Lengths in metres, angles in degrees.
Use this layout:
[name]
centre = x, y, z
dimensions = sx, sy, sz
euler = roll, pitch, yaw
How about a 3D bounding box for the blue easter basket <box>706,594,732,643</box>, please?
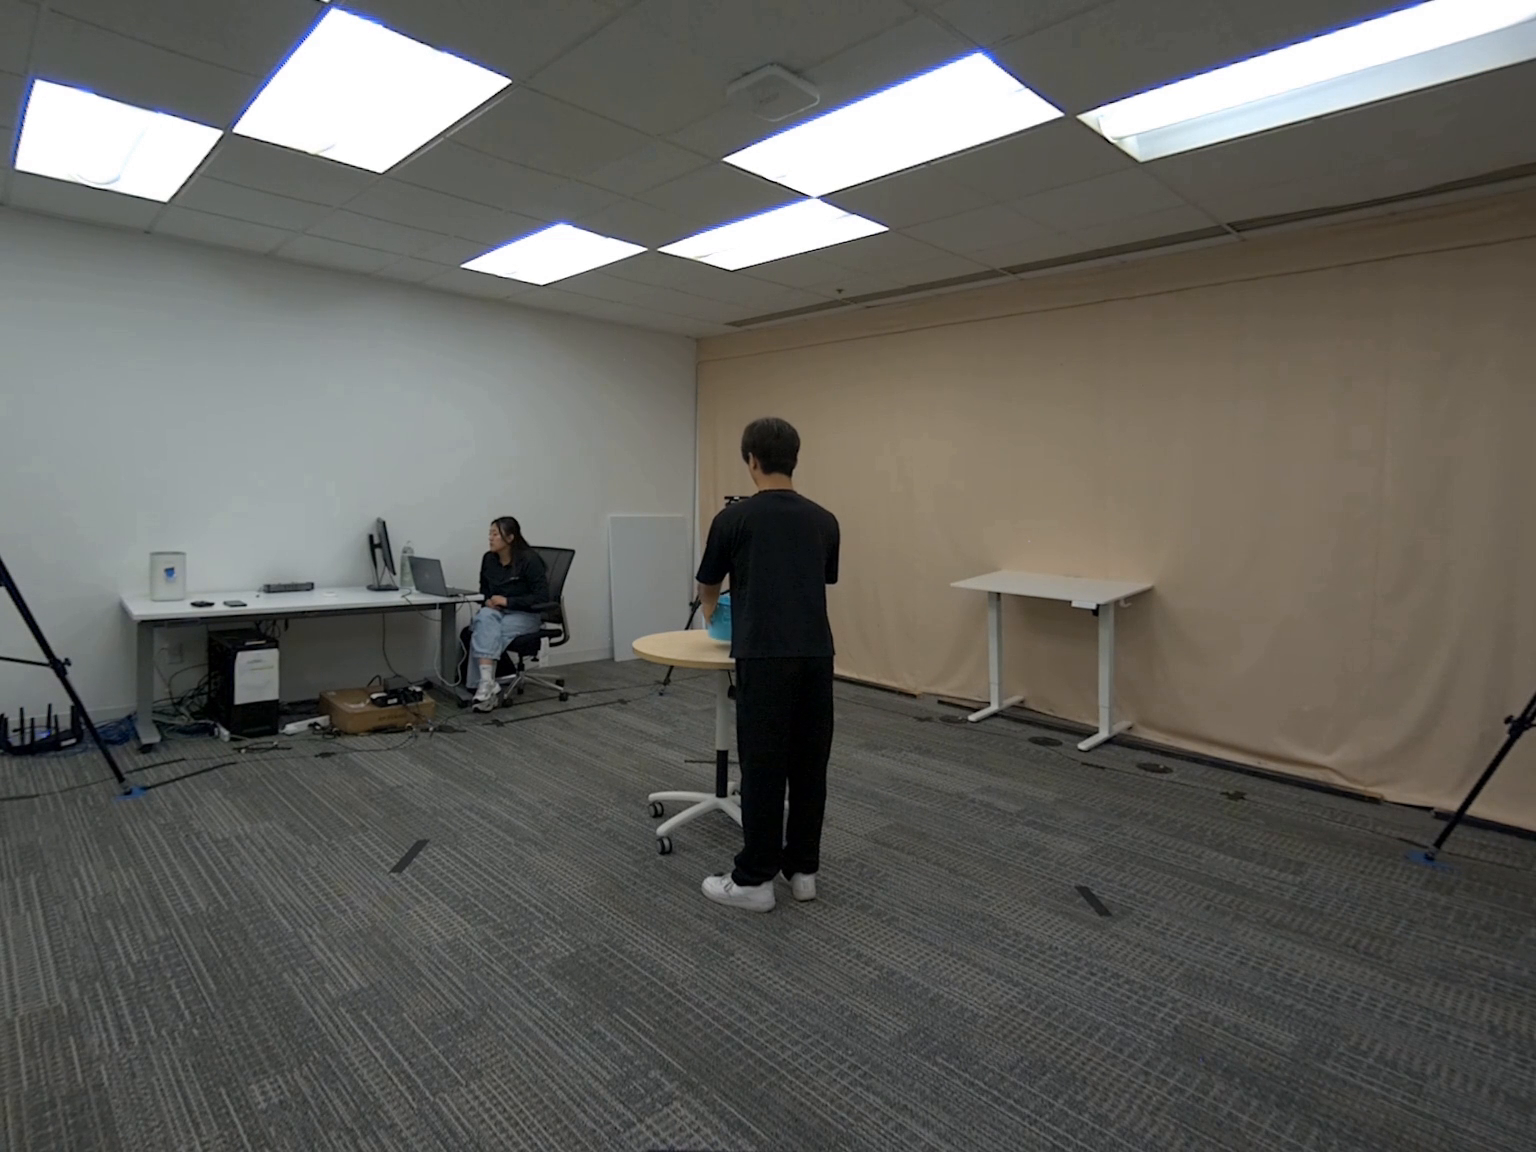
[blue easter basket]
centre = -0.159, 0.176, 3.421
dimensions = 0.243, 0.155, 0.244
euler = 3, 5, -2
